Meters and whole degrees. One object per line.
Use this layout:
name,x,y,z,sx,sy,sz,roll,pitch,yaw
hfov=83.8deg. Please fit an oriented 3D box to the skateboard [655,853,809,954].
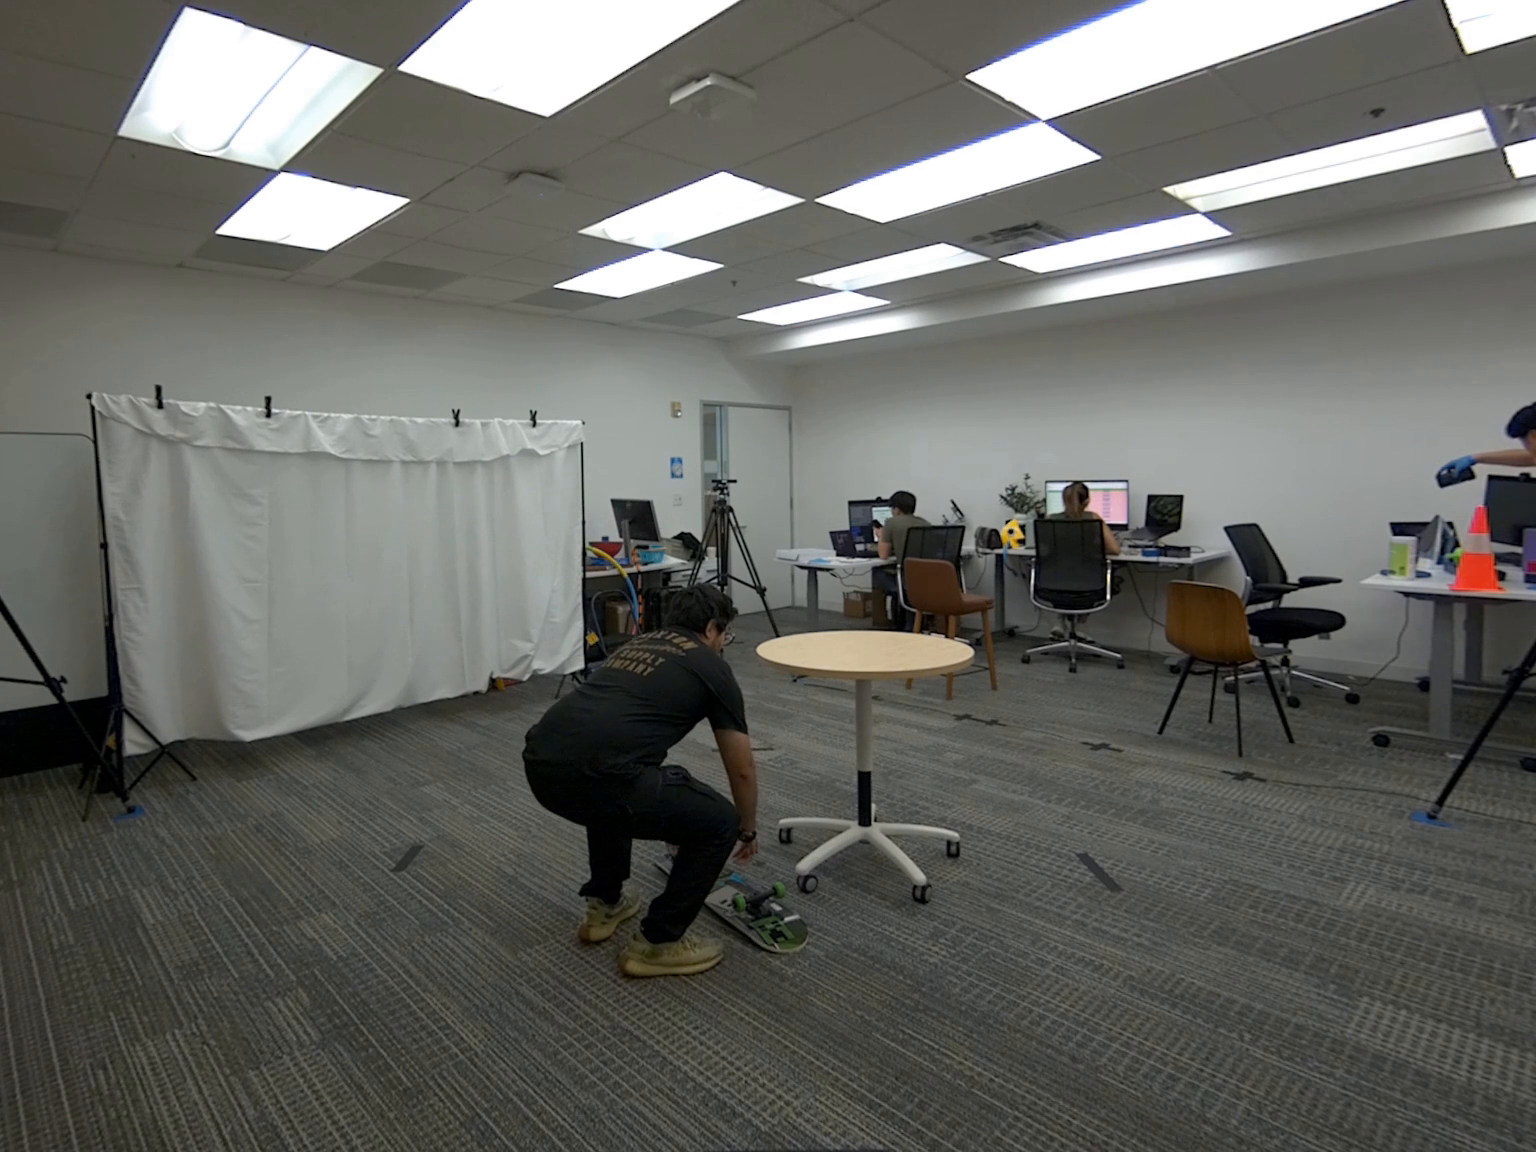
skateboard,-0.139,1.028,2.856,0.189,0.110,0.808,-6,8,-34
